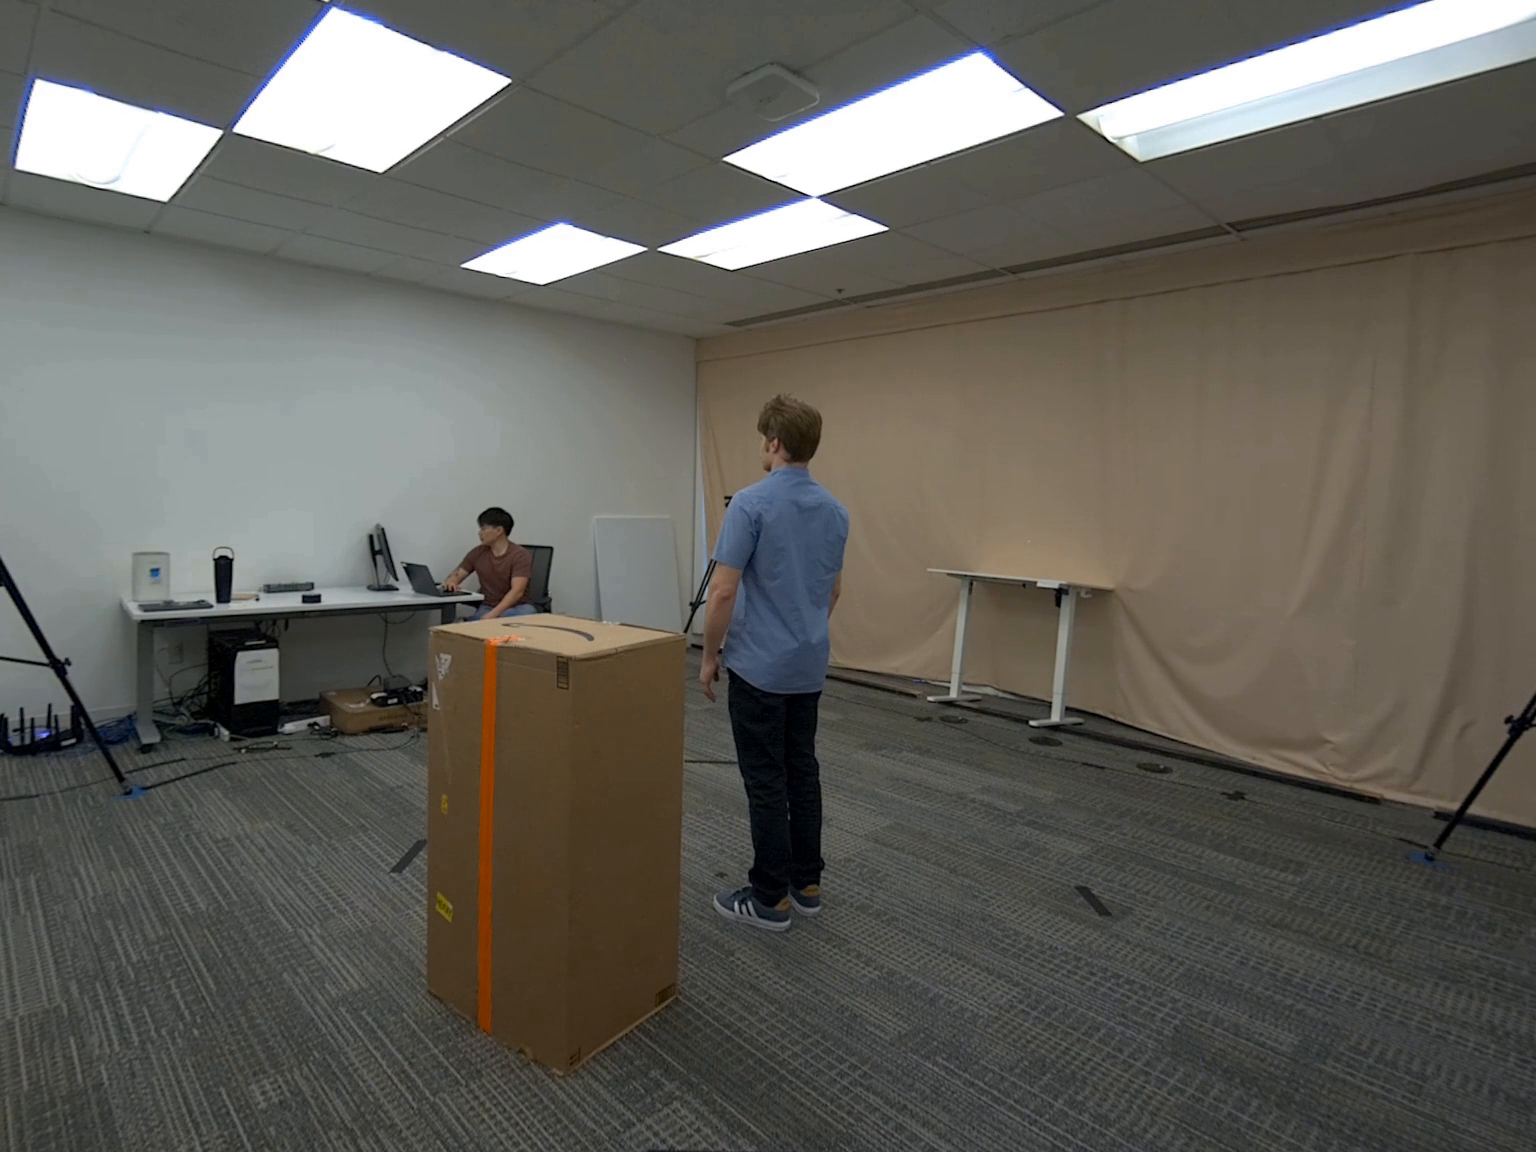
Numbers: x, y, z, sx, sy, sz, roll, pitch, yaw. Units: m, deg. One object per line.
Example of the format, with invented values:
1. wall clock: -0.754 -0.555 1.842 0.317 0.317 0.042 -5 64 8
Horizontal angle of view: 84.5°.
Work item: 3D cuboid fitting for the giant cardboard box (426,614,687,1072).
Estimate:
1. giant cardboard box: -0.593 0.660 2.303 0.592 1.023 0.417 4 4 37
